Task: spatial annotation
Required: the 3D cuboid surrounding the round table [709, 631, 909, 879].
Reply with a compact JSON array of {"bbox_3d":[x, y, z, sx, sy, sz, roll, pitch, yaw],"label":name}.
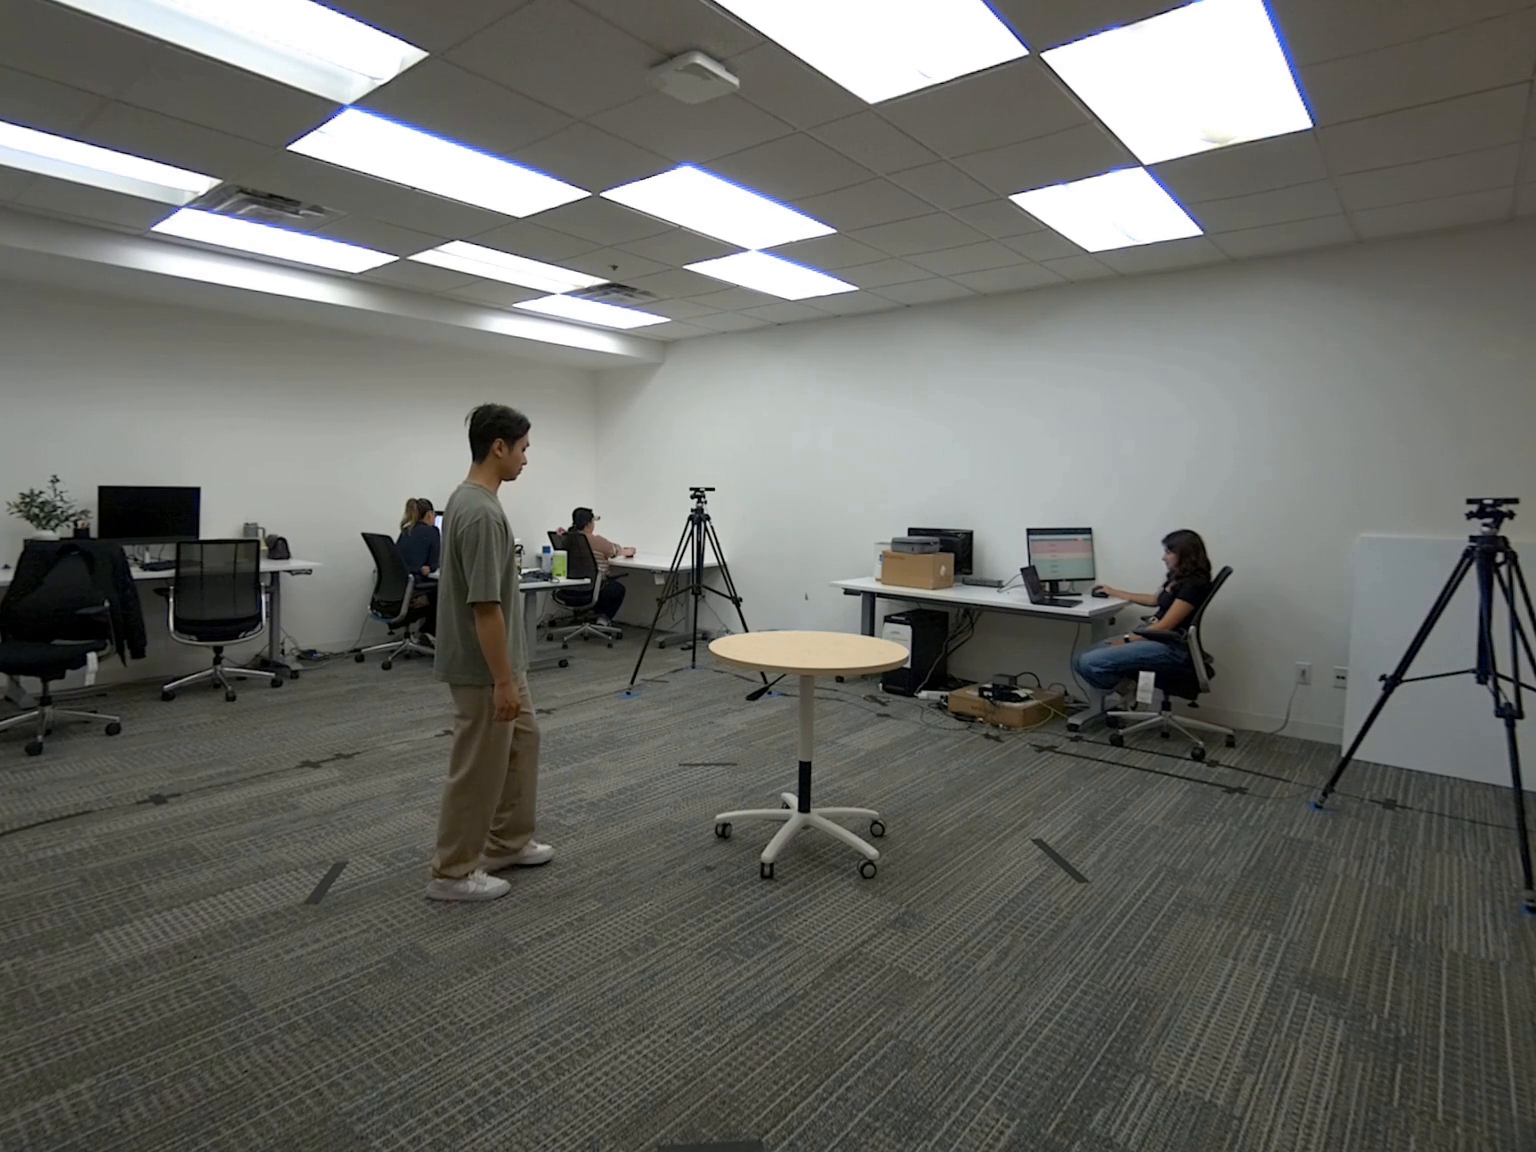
[{"bbox_3d":[0.151,0.662,3.304,0.784,0.784,0.789,0,4,-2],"label":"round table"}]
